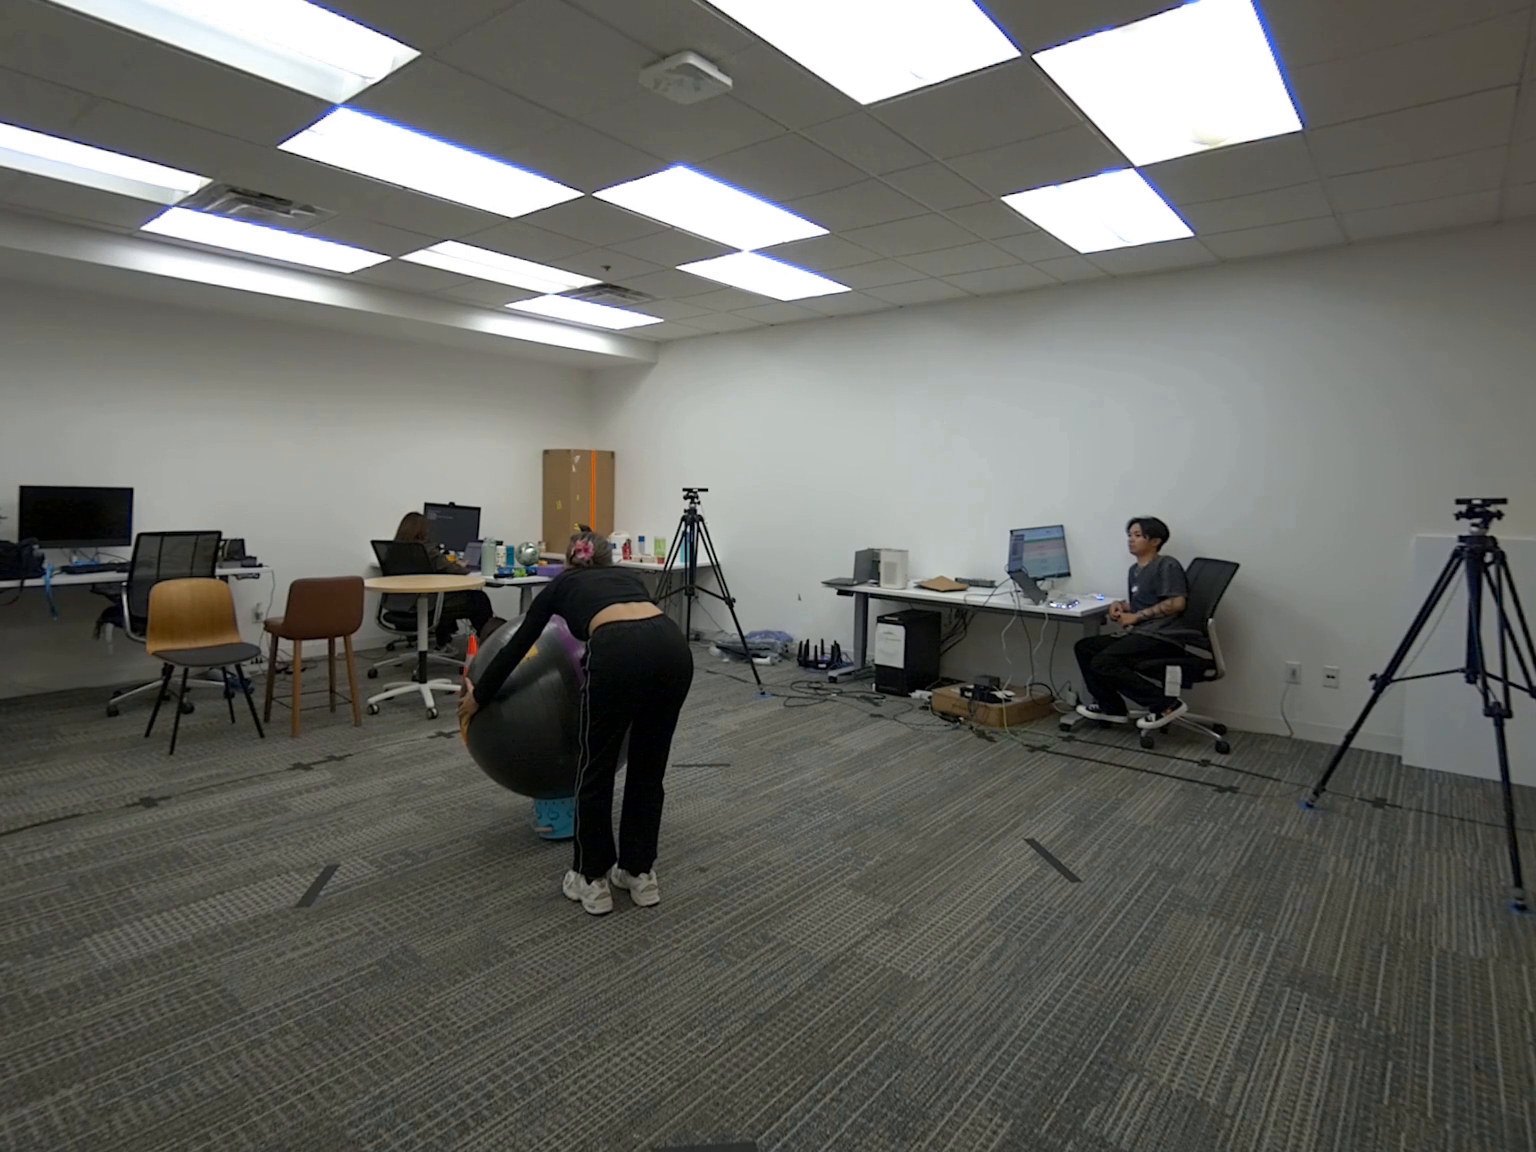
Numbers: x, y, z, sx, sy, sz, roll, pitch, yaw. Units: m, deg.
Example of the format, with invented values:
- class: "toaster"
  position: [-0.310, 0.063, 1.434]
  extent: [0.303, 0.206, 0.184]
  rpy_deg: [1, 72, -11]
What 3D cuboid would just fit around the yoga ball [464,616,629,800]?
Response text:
- class: "yoga ball"
  position: [-0.871, 0.508, 3.445]
  extent: [0.757, 0.755, 0.762]
  rpy_deg: [1, 4, -2]
